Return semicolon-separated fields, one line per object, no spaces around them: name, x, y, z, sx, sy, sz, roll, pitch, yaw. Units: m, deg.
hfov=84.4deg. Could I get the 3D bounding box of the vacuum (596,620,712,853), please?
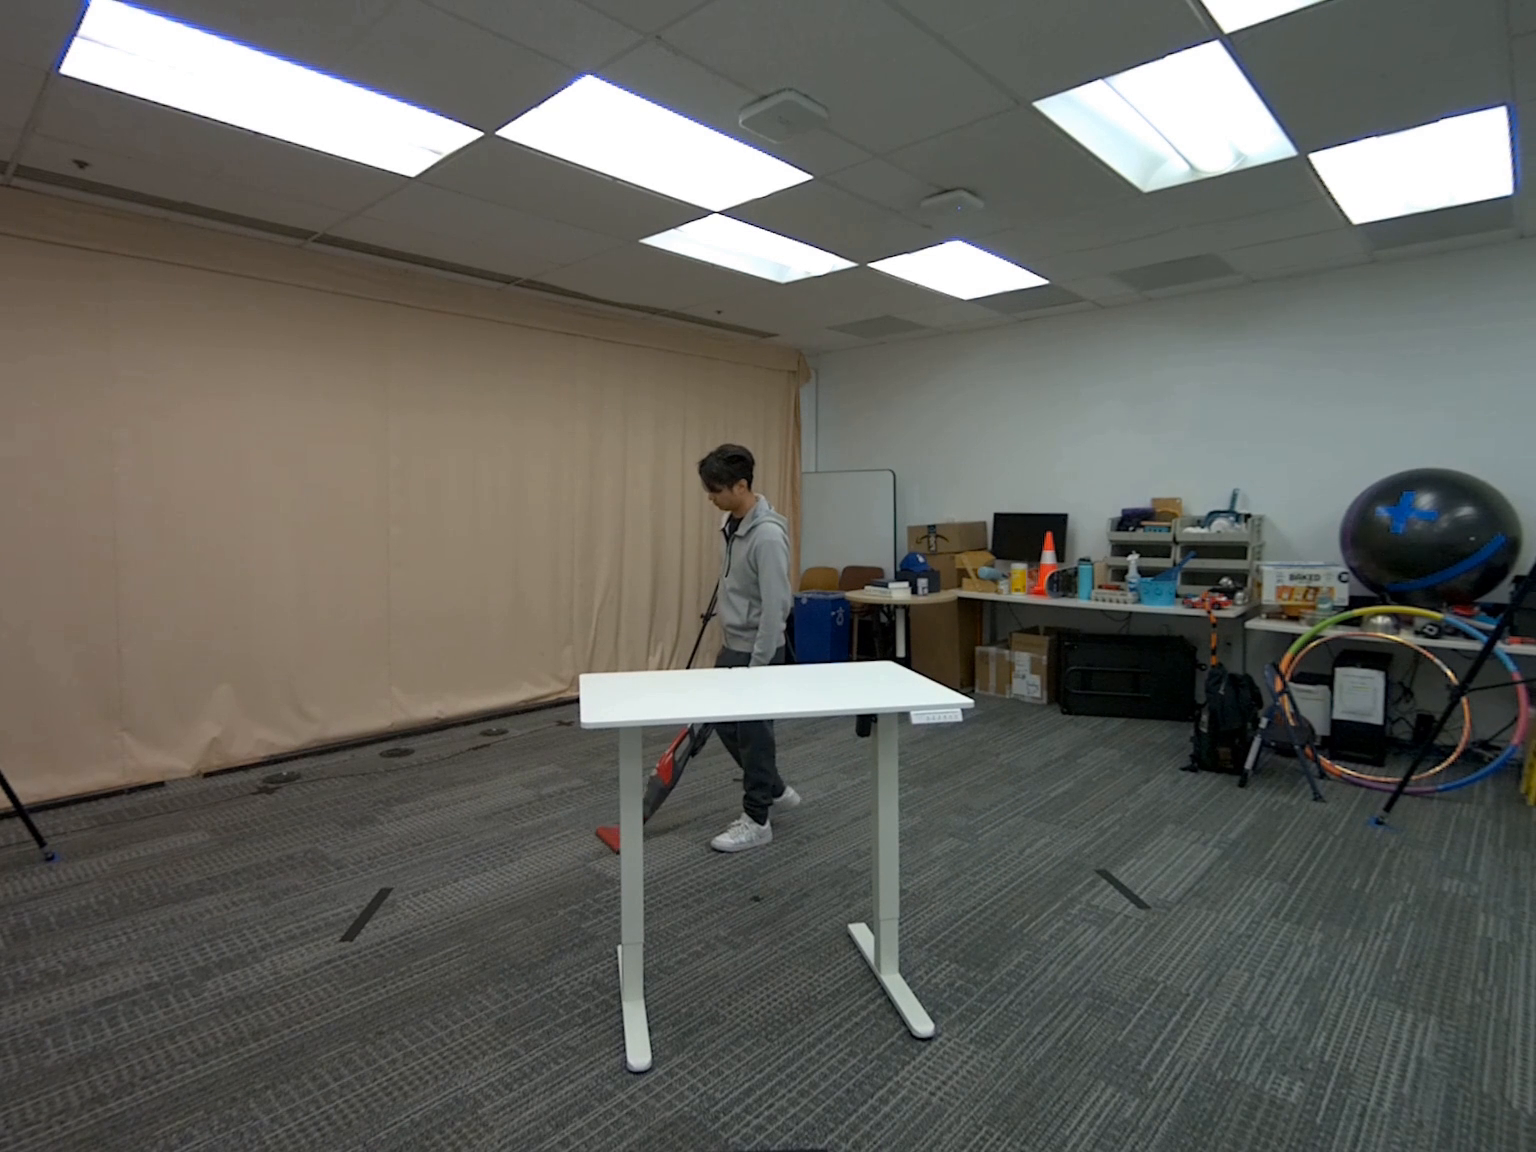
vacuum;-0.338;0.700;3.662;0.140;1.047;0.260;44;-20;-25
